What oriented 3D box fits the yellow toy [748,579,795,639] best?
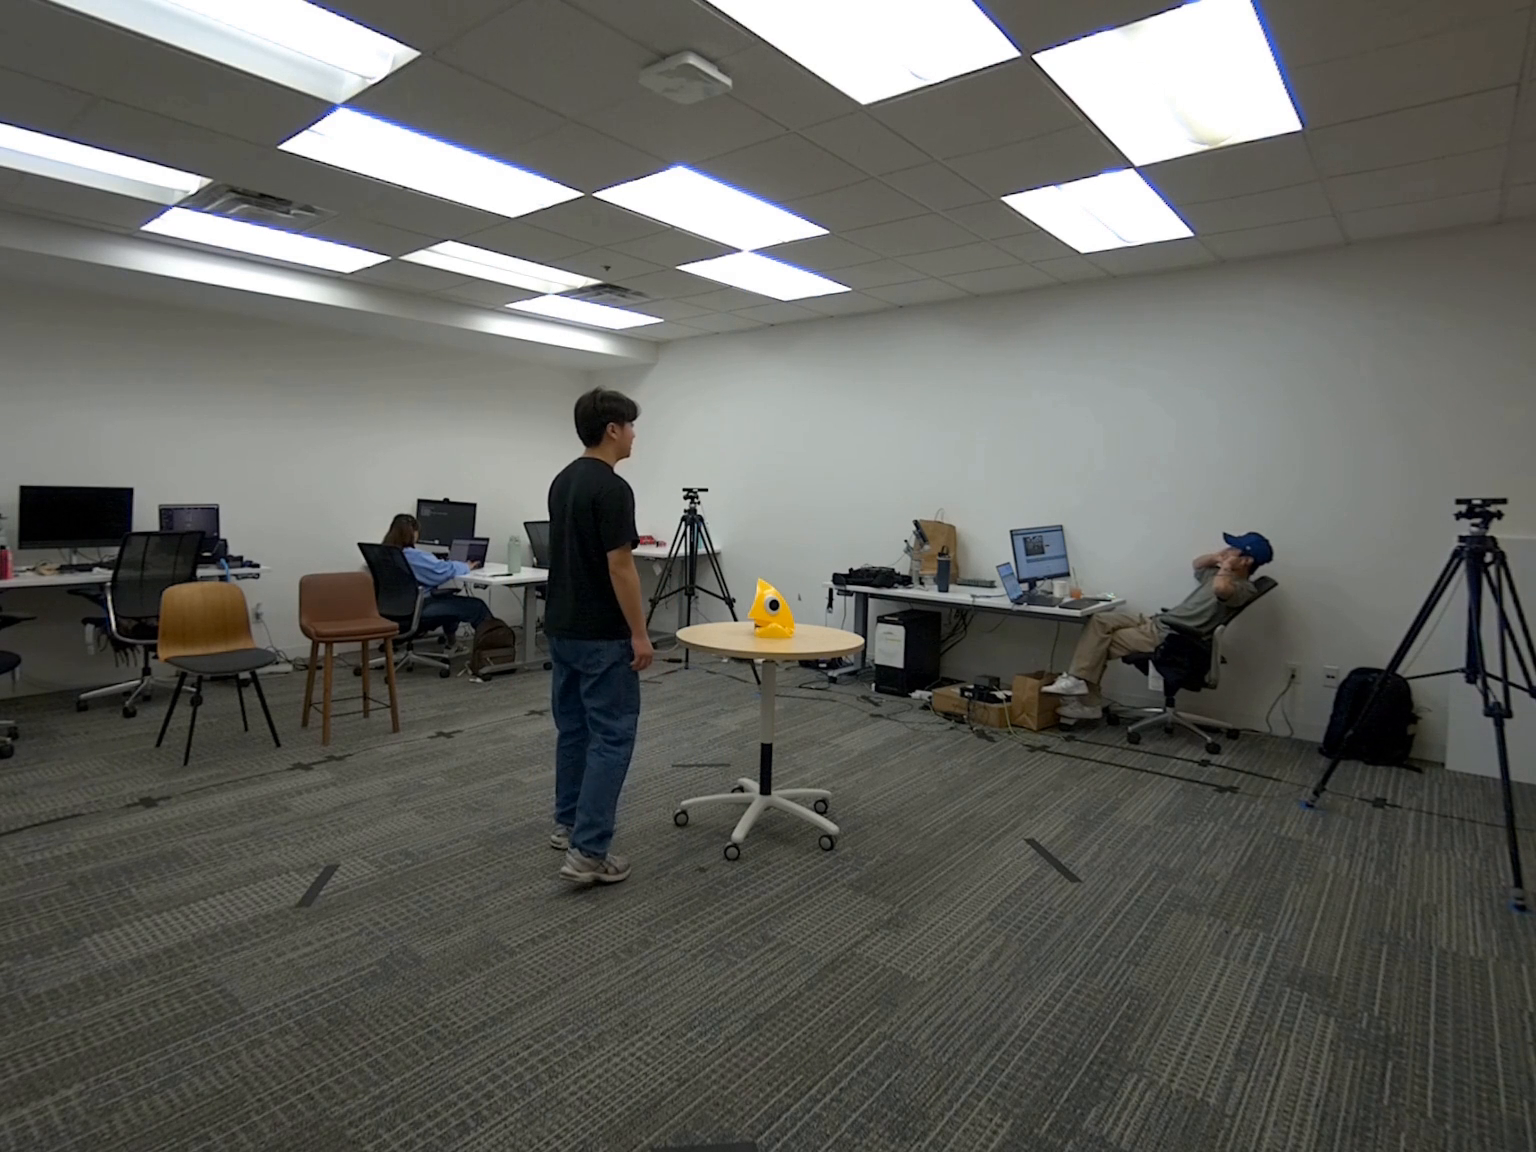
[{"bbox_3d":[0.008,0.126,3.513,0.195,0.230,0.204,2,4,6],"label":"yellow toy"}]
